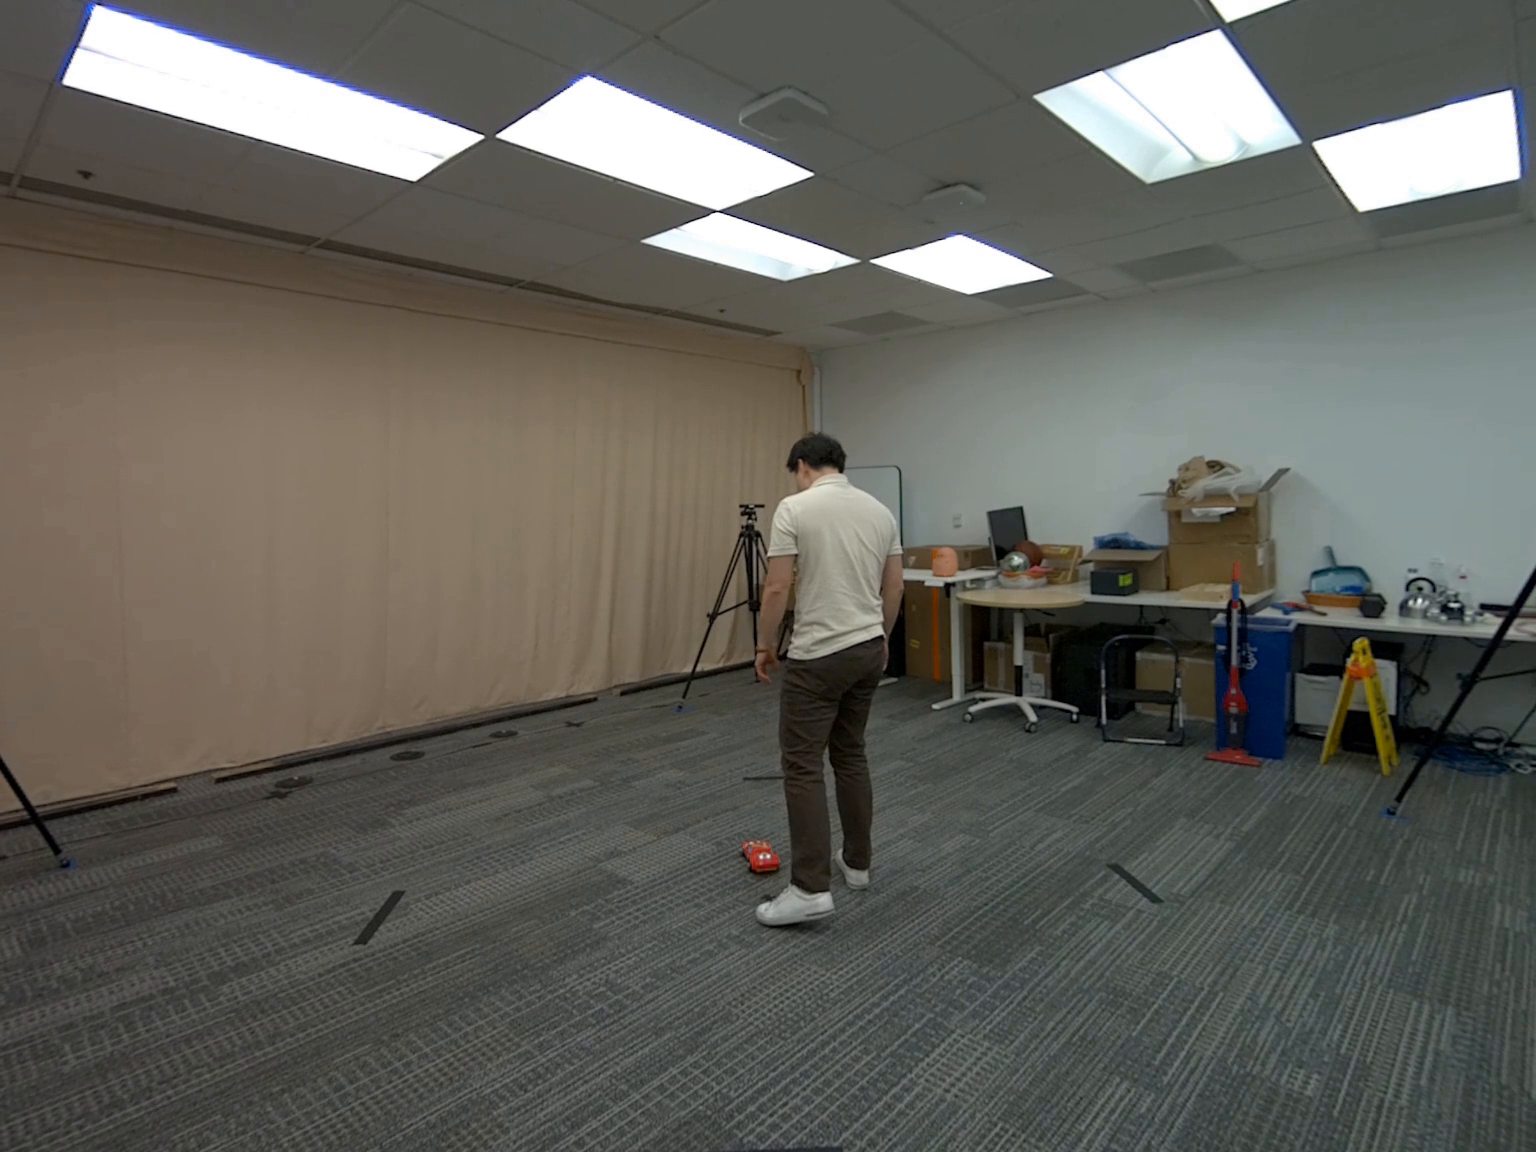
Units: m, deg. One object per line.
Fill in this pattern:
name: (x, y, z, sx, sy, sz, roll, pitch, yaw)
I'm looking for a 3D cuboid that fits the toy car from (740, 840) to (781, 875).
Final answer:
toy car: (-0.029, 1.083, 3.254, 0.129, 0.083, 0.256, -1, -5, -11)
